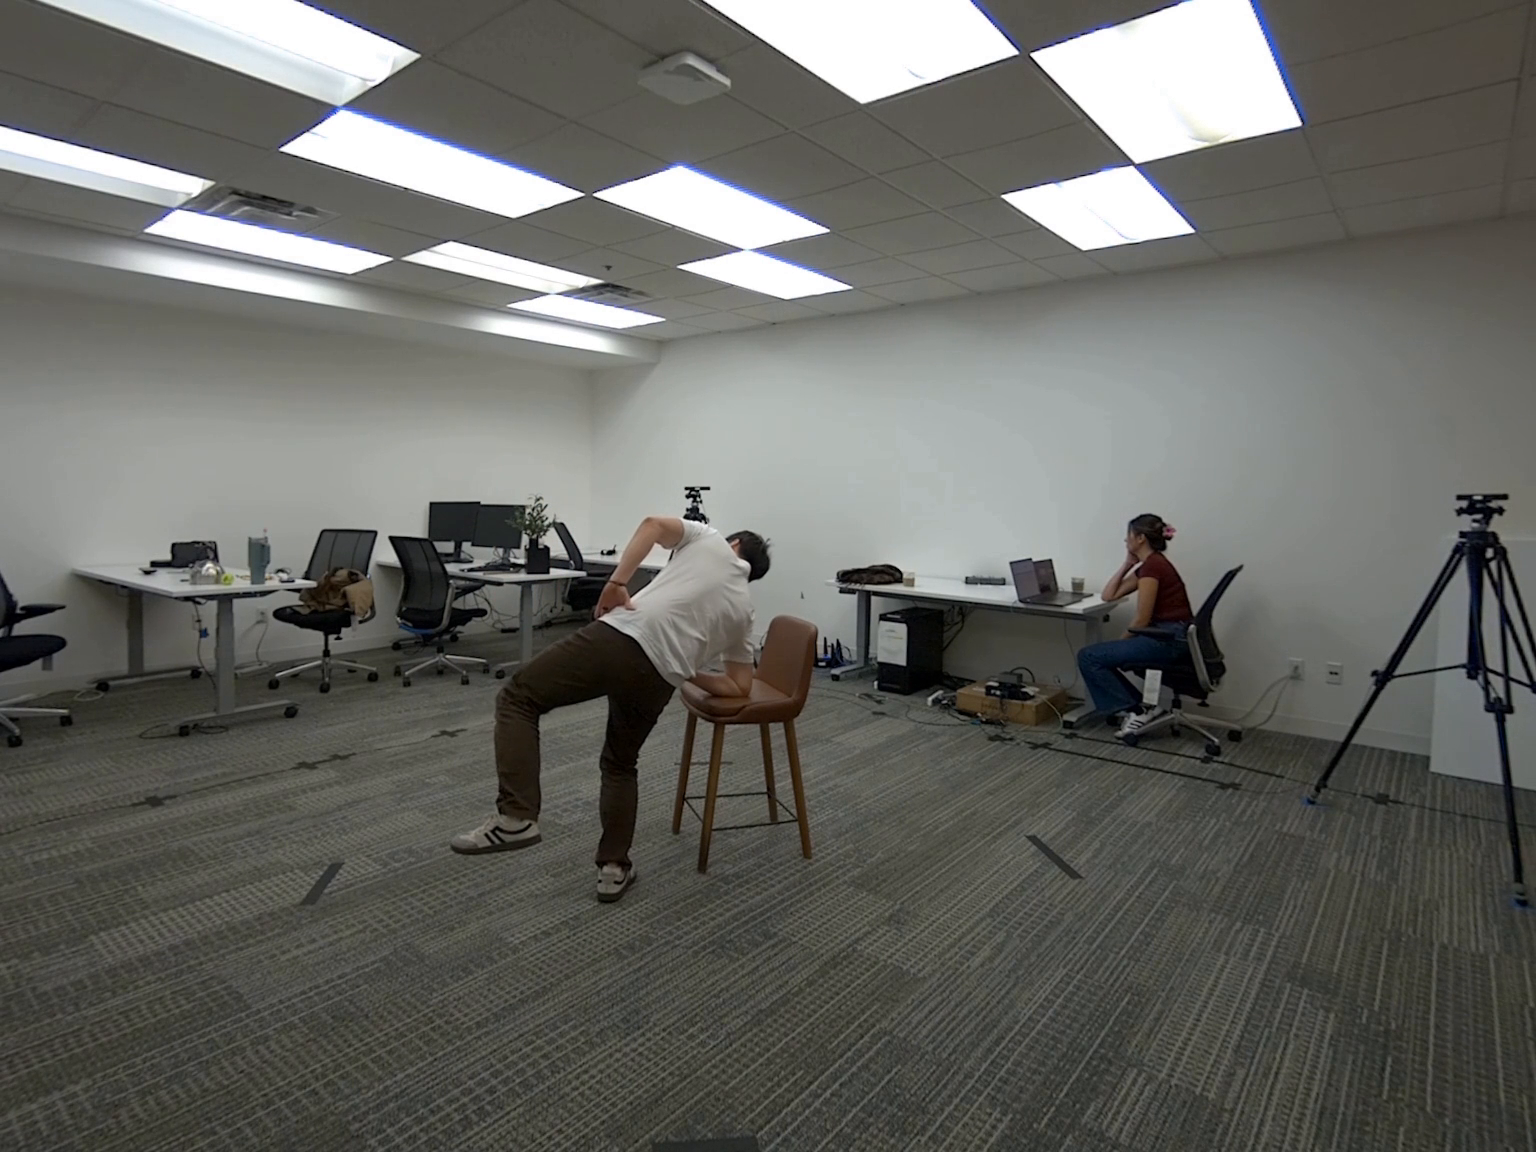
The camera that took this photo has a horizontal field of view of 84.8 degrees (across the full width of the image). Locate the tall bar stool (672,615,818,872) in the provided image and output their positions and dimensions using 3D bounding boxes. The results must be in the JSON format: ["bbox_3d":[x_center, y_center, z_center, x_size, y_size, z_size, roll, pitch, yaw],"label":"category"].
[{"bbox_3d":[-0.105,0.613,3.302,0.458,0.888,0.467,1,3,-20],"label":"tall bar stool"}]
